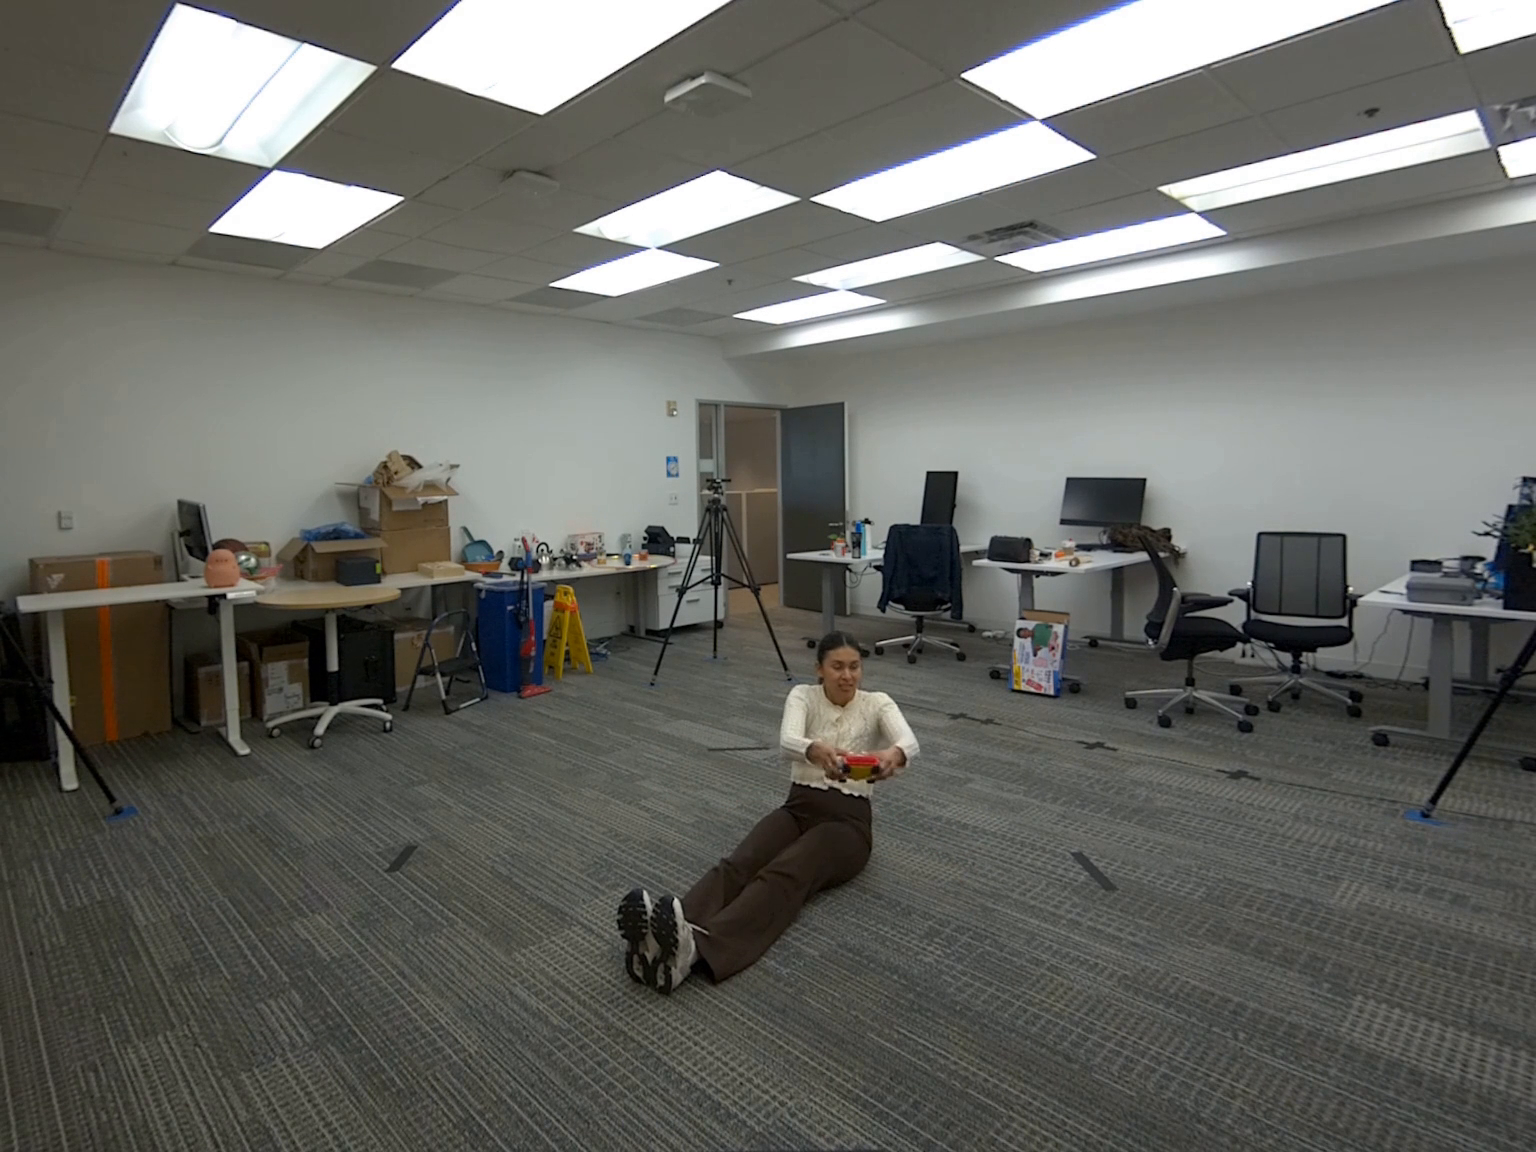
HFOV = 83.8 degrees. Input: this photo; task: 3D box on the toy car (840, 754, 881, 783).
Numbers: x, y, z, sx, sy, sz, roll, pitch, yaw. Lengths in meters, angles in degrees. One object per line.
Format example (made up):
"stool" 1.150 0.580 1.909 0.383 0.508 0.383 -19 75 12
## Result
"toy car" 0.265 0.593 2.632 0.130 0.084 0.251 -1 -11 -1
